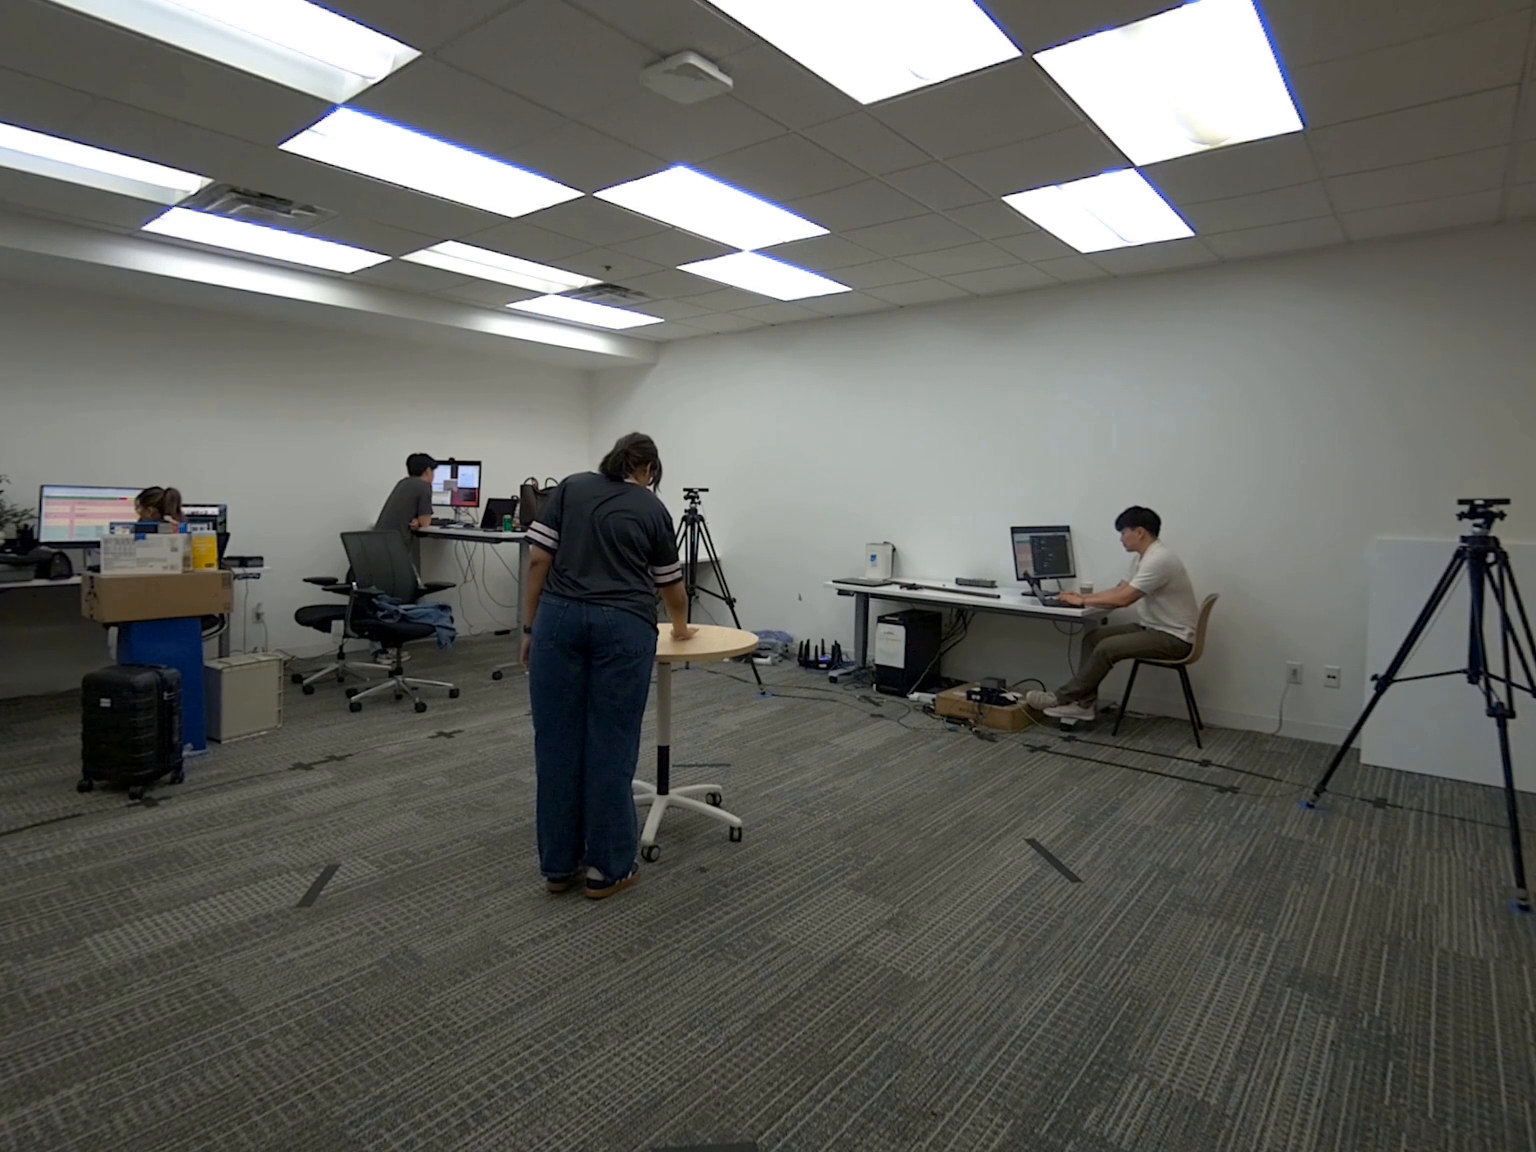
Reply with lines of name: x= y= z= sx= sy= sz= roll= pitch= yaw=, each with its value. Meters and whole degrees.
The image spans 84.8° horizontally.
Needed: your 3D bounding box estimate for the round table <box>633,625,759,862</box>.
round table: x=-0.447 y=0.638 z=3.483 sx=0.784 sy=0.784 sz=0.789 roll=1 pitch=4 yaw=-2
